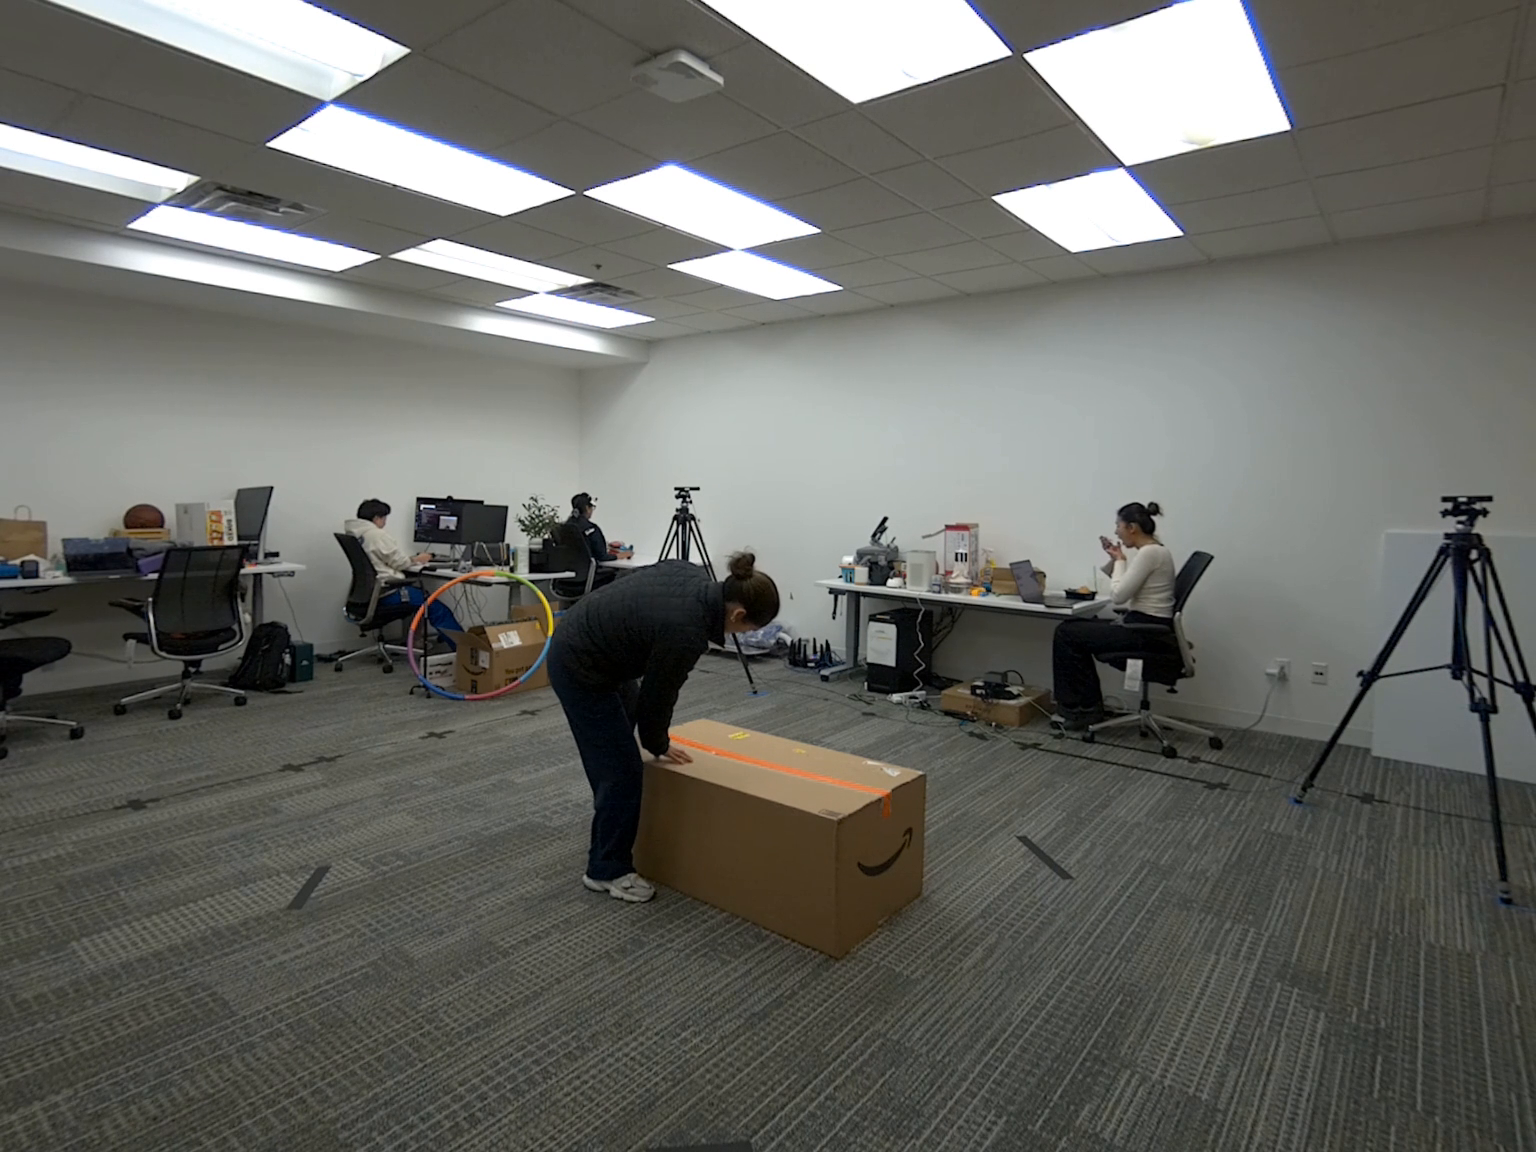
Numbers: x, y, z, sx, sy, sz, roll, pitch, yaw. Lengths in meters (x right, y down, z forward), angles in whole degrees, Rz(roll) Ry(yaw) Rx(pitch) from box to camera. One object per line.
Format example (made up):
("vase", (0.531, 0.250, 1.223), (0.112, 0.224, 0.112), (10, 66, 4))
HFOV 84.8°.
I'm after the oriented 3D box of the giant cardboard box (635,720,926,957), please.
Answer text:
("giant cardboard box", (-0.020, 0.867, 3.058), (1.062, 0.445, 0.567), (6, 8, 39))
